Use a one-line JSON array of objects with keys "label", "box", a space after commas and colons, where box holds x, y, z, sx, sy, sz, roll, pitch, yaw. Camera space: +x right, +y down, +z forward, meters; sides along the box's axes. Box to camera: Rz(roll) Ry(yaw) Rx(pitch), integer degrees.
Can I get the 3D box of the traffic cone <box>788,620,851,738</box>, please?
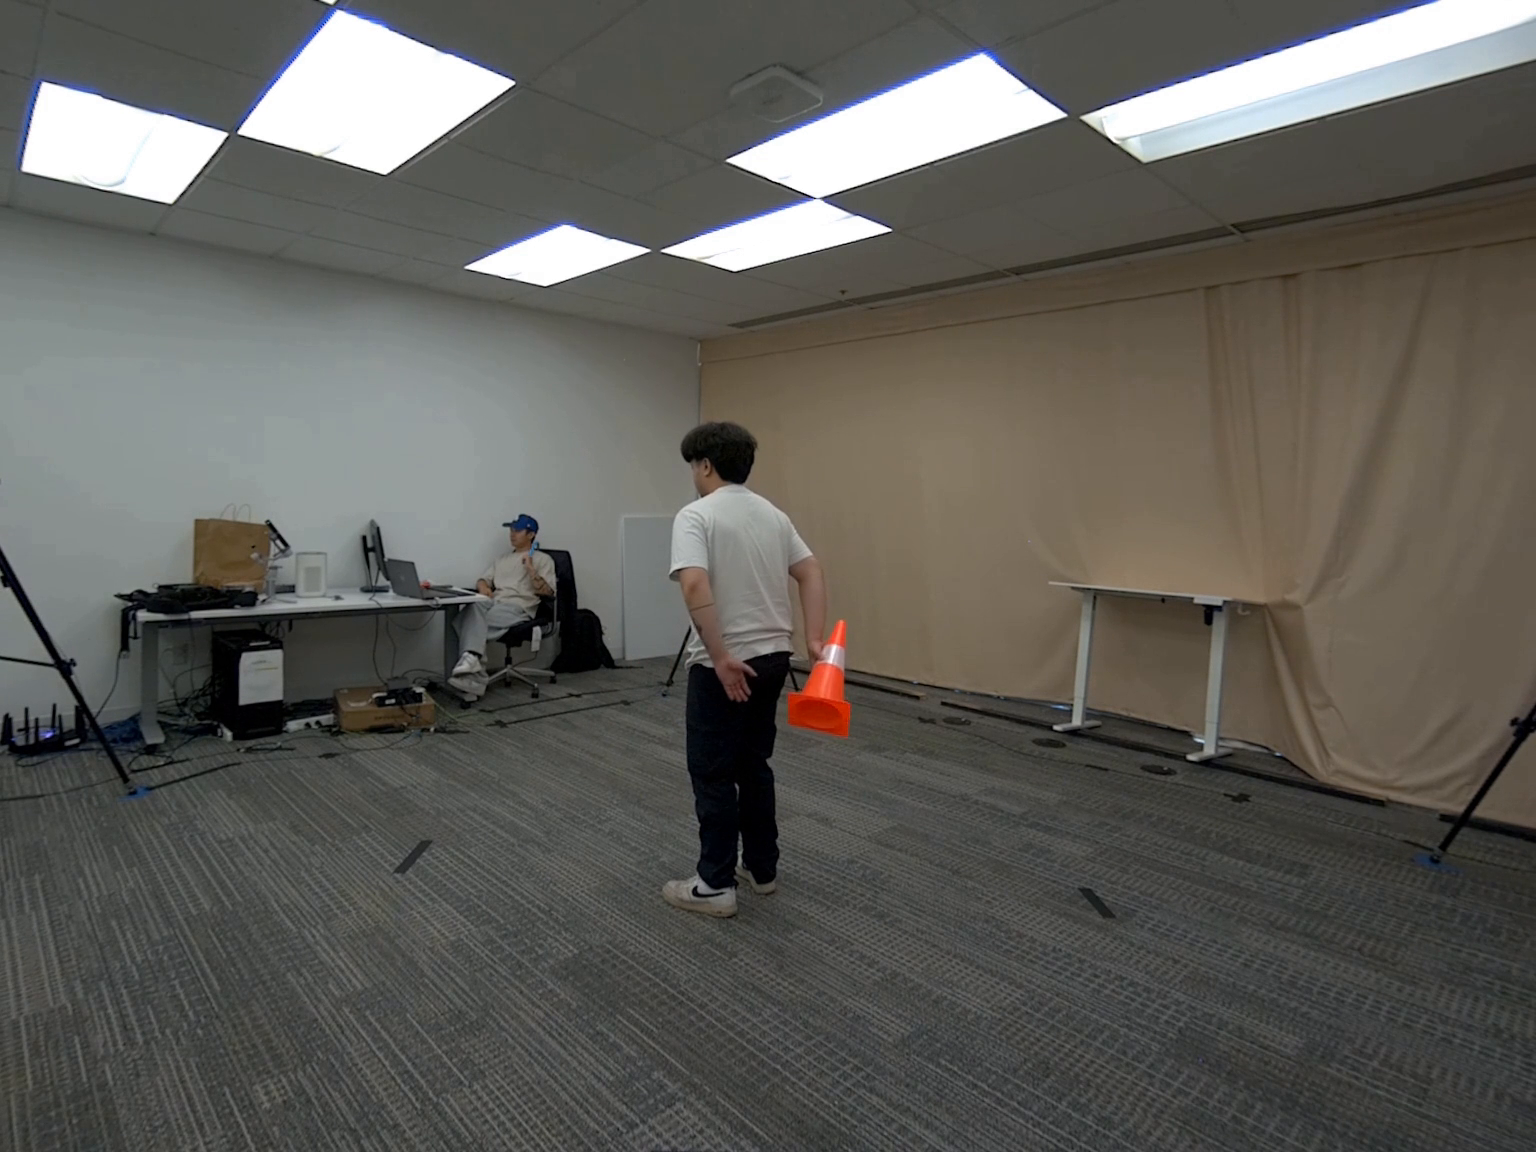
[{"label": "traffic cone", "box": [0.203, 0.306, 2.803, 0.207, 0.388, 0.198, 9, -40, 11]}]
